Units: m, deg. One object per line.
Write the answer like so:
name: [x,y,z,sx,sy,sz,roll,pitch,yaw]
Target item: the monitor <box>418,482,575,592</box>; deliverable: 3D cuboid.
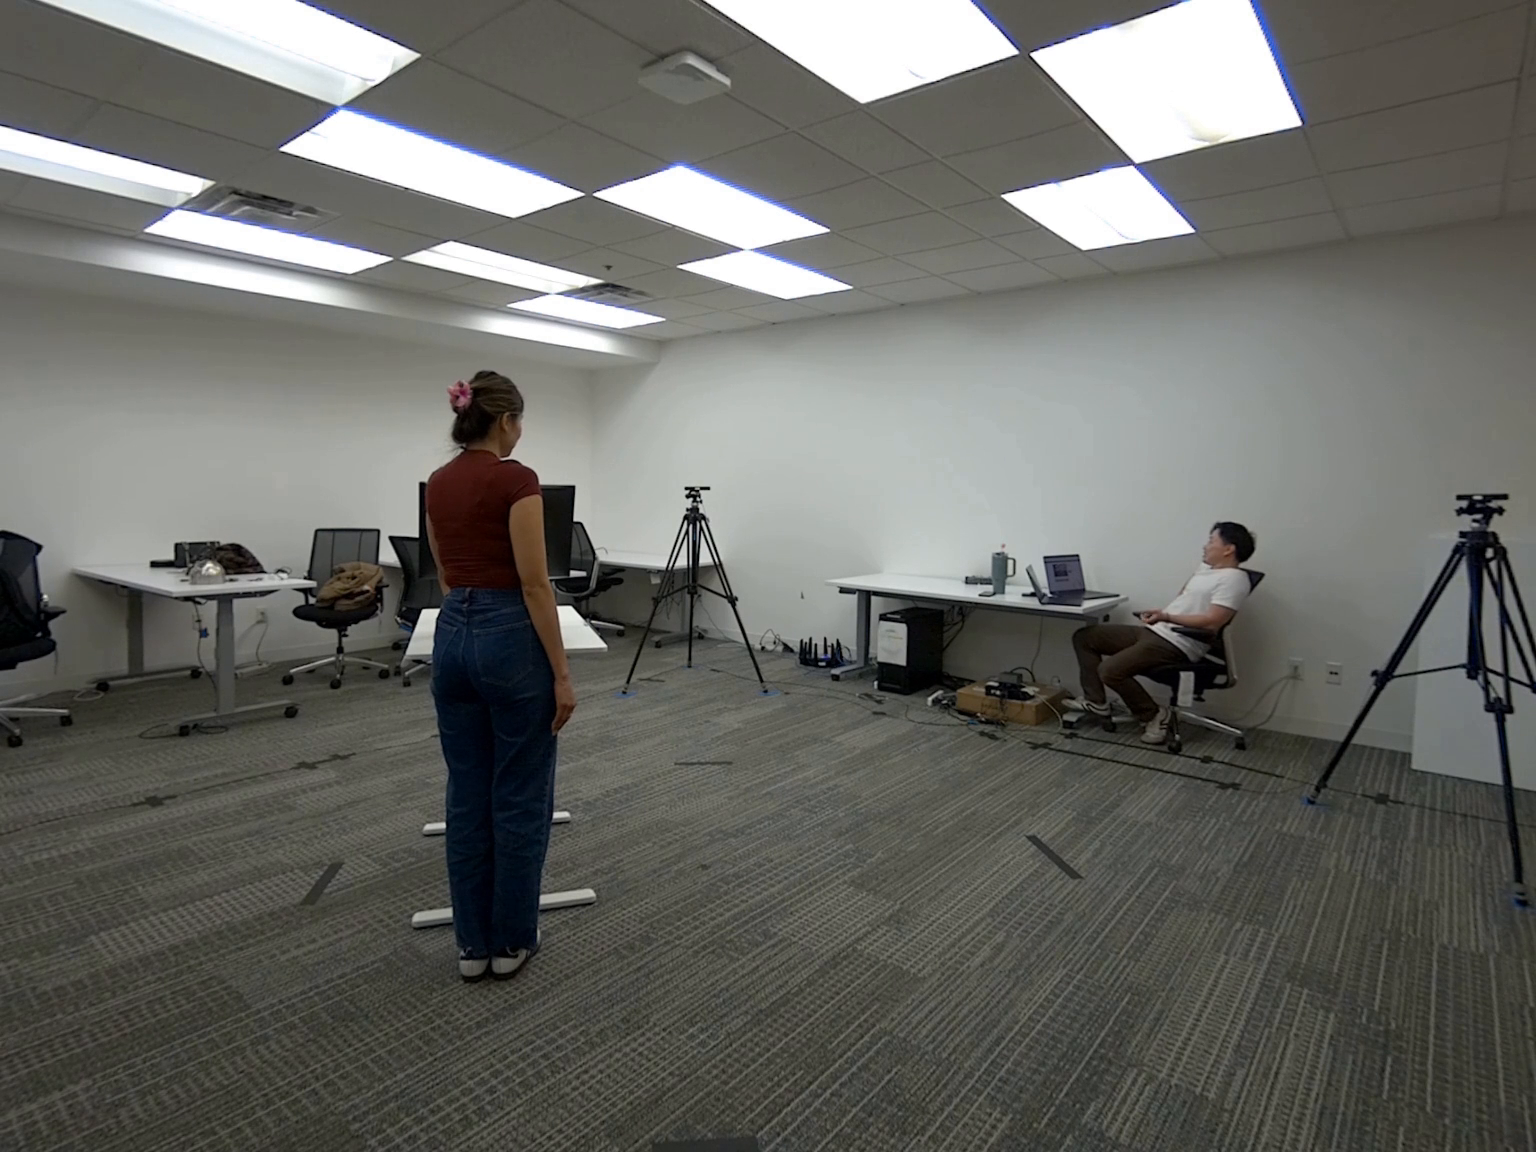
monitor: [-0.969,-0.071,3.002,0.527,0.520,0.192,0,5,-23]
